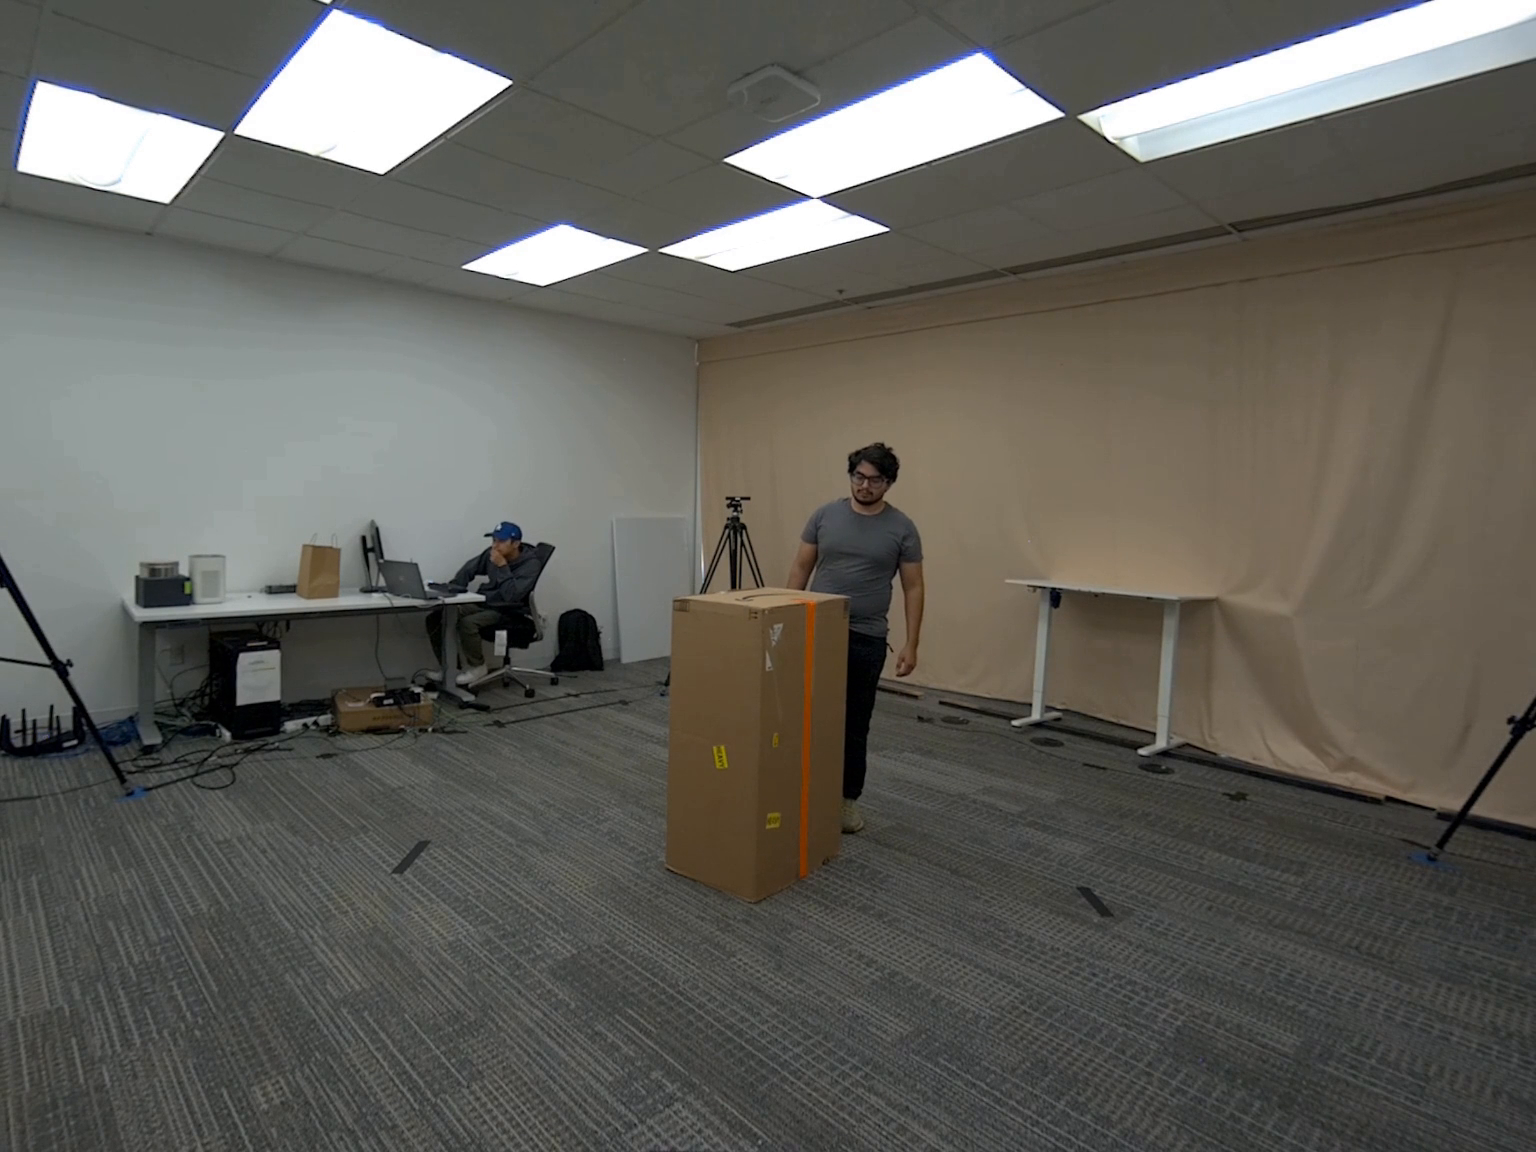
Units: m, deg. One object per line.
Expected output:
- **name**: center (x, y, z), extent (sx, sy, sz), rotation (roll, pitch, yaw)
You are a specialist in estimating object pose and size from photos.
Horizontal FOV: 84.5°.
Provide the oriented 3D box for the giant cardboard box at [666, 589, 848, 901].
- **giant cardboard box**: center (-0.038, 0.595, 3.211), extent (0.457, 1.025, 0.571), rotation (3, 3, 36)
